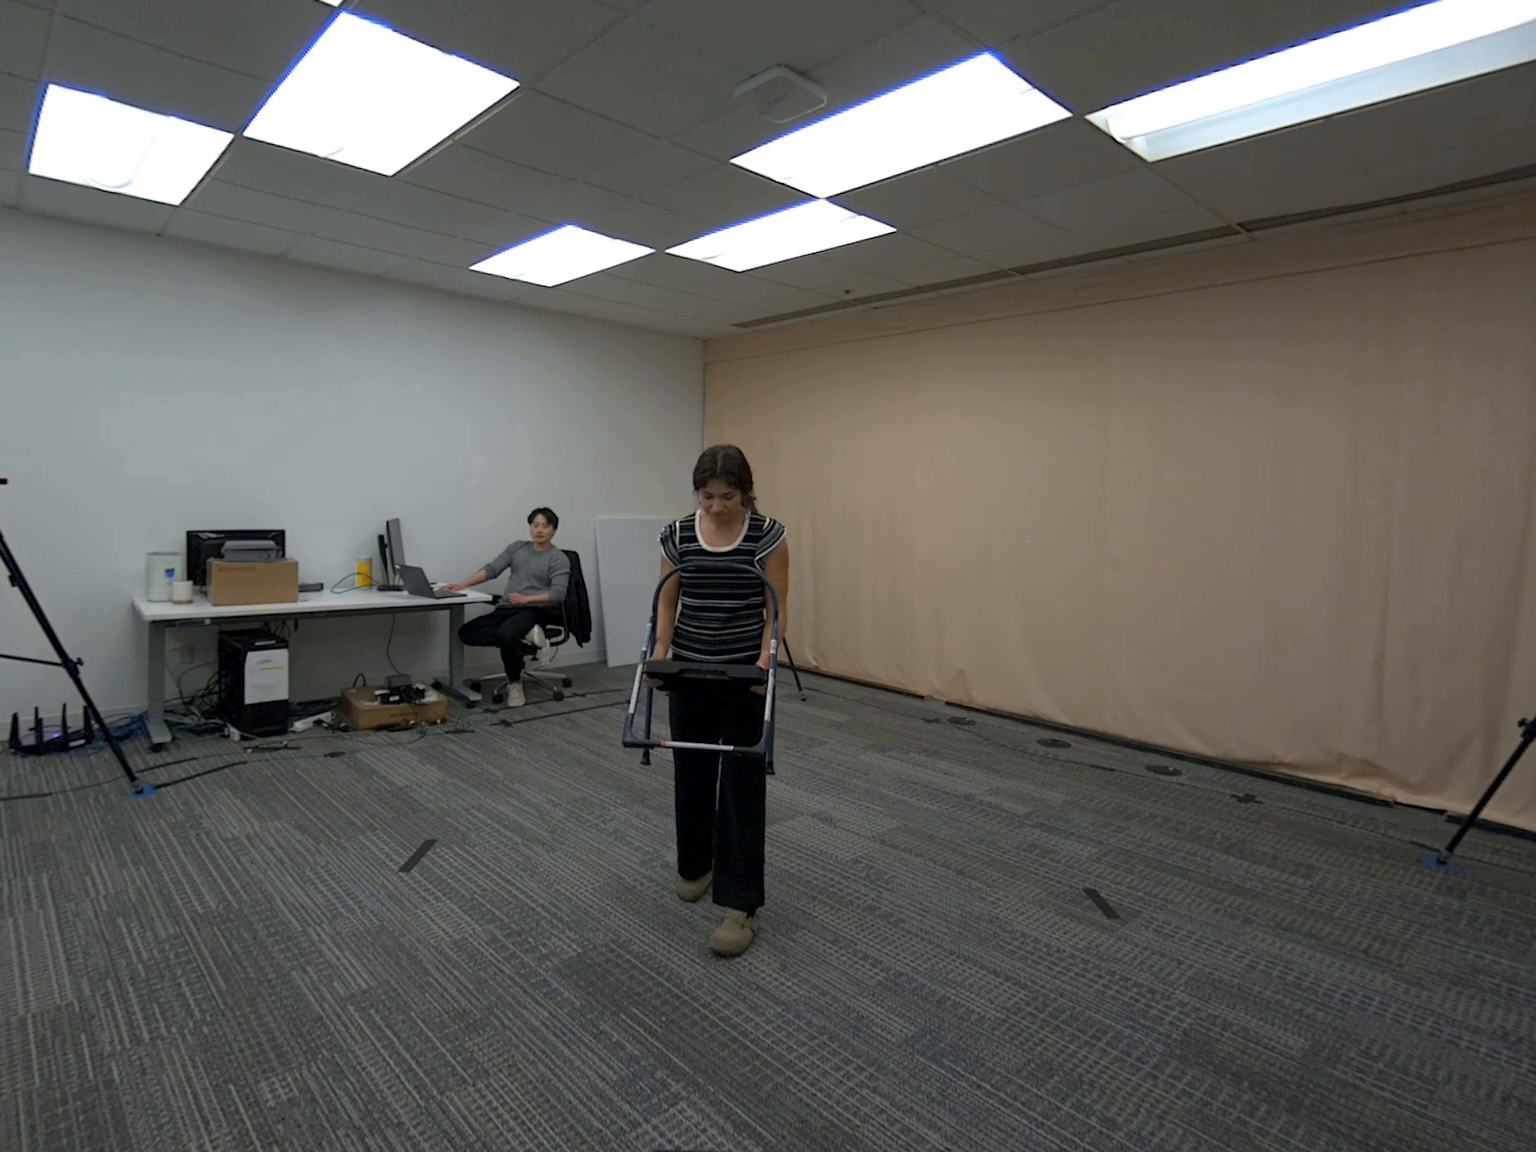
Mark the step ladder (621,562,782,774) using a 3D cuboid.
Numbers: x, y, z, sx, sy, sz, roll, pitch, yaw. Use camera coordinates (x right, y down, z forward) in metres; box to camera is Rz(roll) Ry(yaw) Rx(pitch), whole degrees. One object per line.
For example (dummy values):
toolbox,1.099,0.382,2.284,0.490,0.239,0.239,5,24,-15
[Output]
step ladder,-0.191,0.279,2.617,0.432,0.614,0.343,5,-22,4
